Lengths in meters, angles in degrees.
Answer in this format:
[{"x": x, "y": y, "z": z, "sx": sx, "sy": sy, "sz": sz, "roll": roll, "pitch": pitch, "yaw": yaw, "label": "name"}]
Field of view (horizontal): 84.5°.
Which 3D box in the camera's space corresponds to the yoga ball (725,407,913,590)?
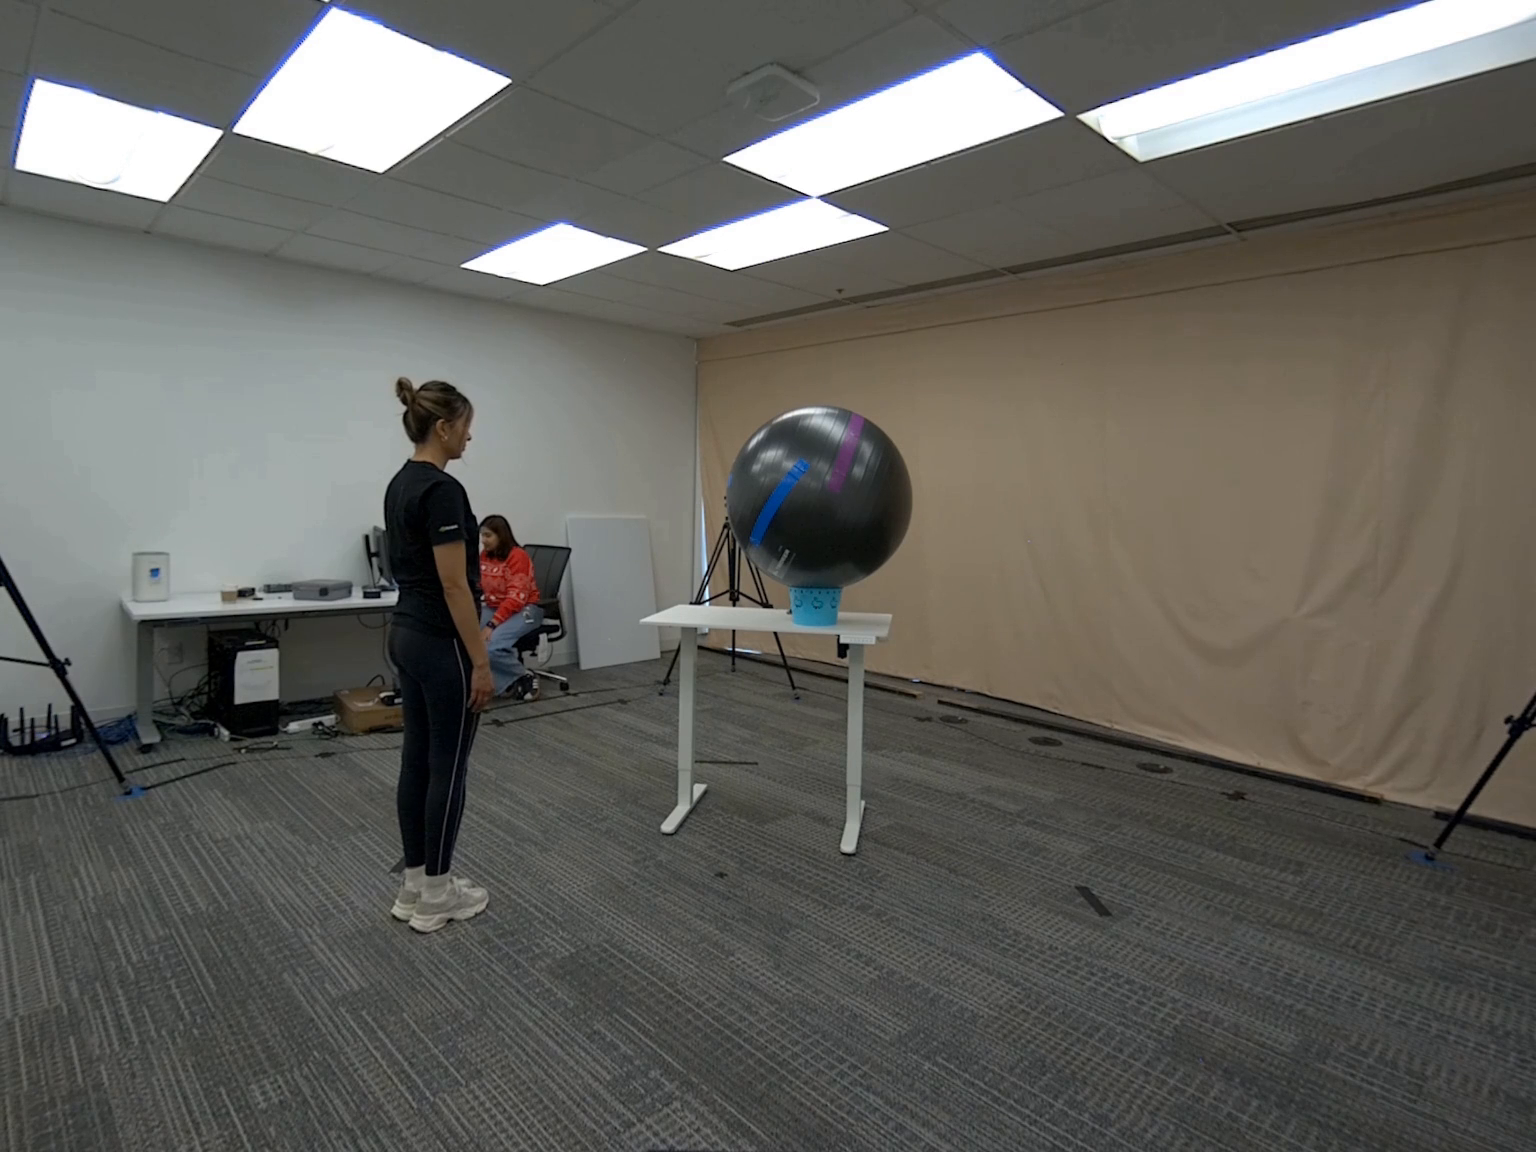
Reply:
[{"x": 0.204, "y": -0.313, "z": 3.460, "sx": 0.757, "sy": 0.756, "sz": 0.761, "roll": 1, "pitch": 4, "yaw": -1, "label": "yoga ball"}]
